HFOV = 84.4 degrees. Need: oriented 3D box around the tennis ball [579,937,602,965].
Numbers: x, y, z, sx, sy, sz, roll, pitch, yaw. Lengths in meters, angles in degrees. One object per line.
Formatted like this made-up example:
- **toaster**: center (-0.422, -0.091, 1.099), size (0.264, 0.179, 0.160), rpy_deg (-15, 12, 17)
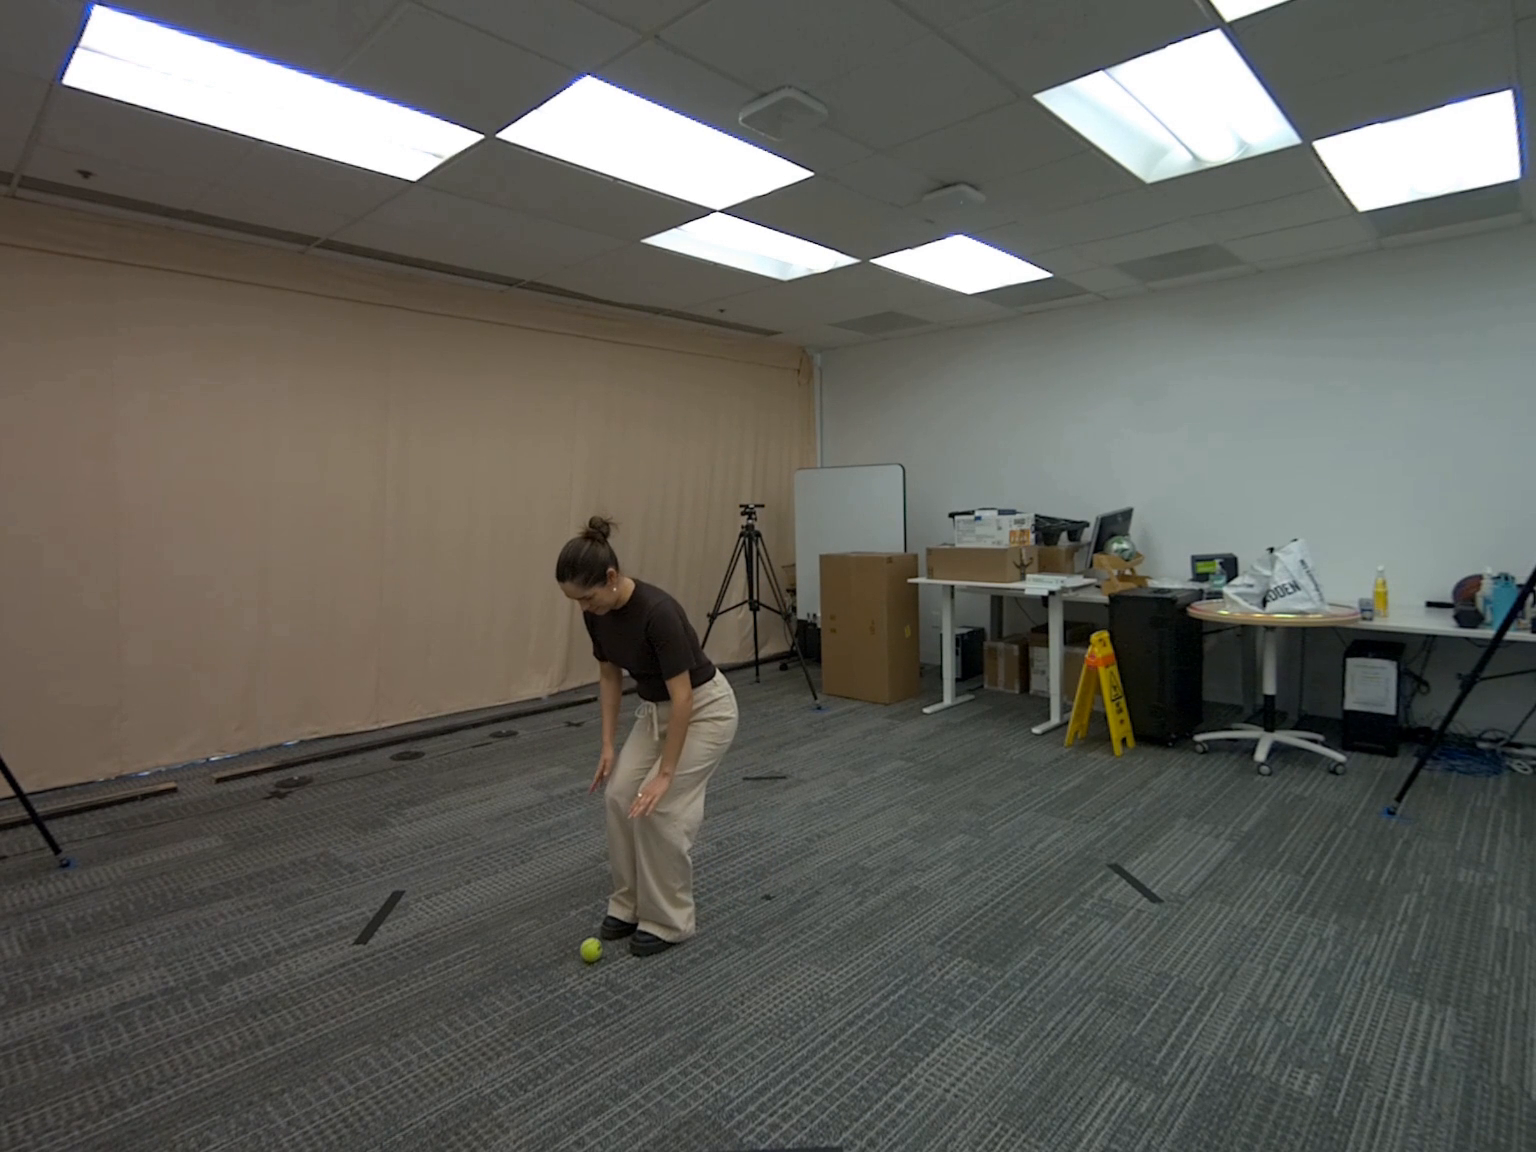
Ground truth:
- **tennis ball**: center (-0.535, 1.145, 2.596), size (0.066, 0.066, 0.067), rpy_deg (-1, 4, -2)
